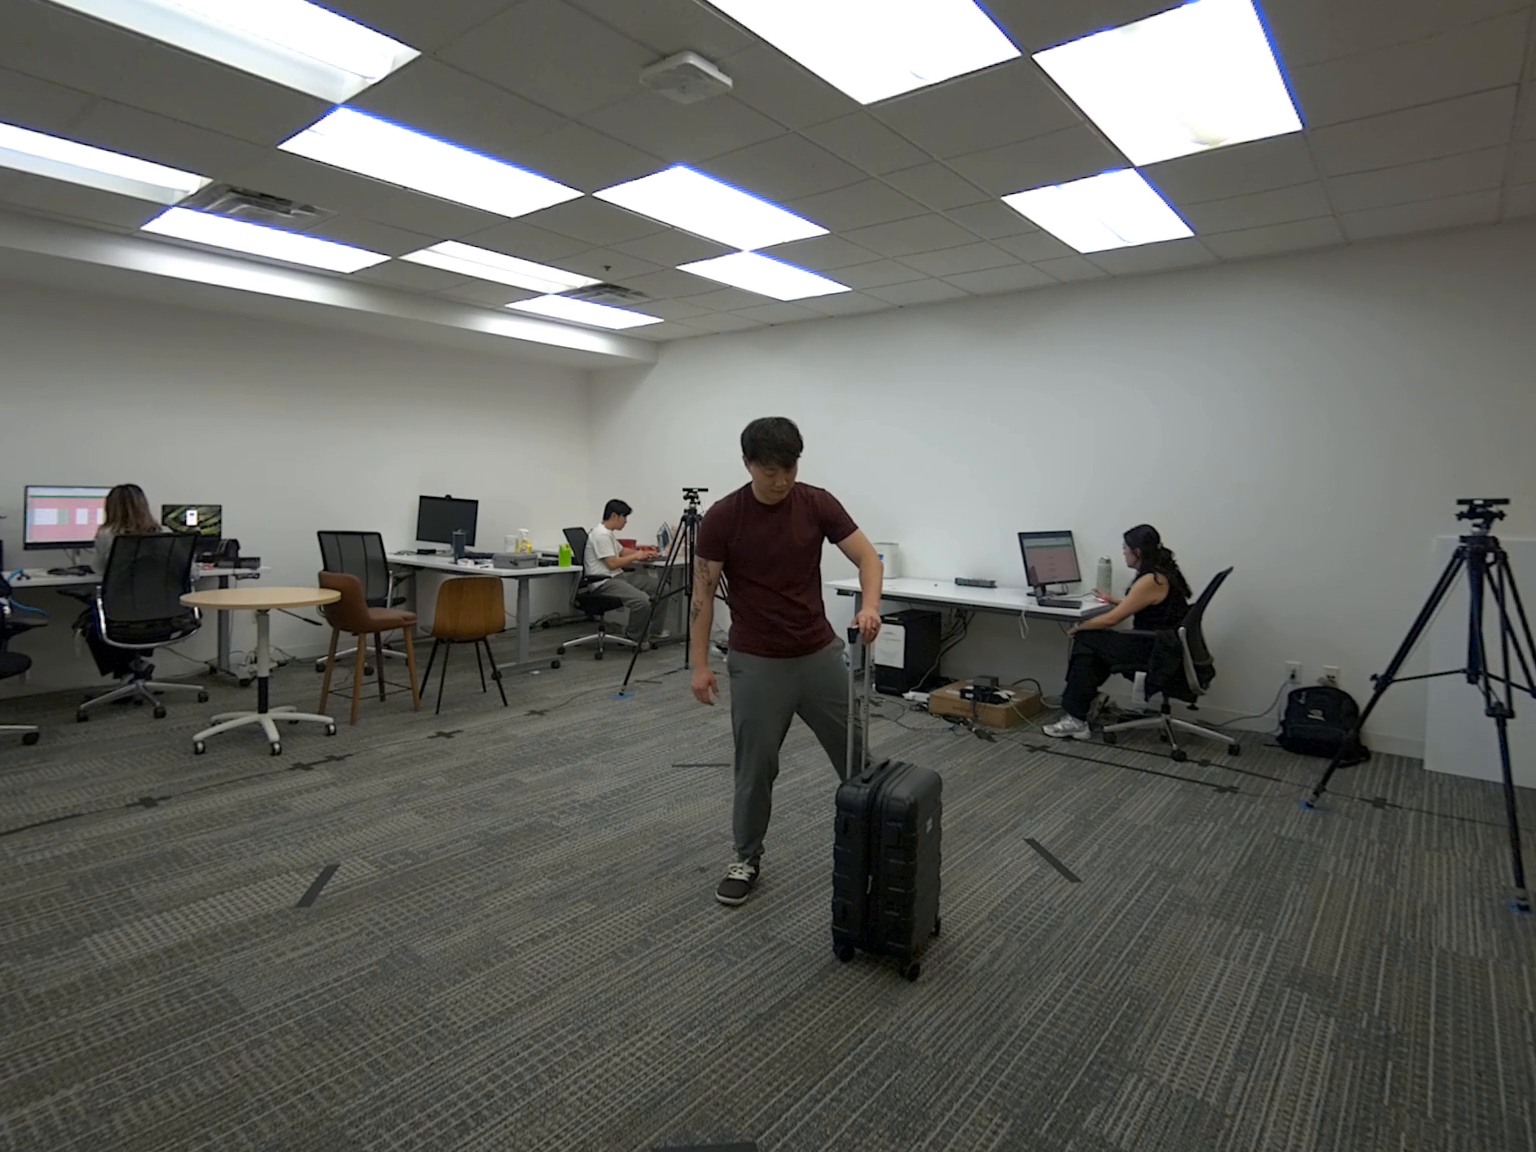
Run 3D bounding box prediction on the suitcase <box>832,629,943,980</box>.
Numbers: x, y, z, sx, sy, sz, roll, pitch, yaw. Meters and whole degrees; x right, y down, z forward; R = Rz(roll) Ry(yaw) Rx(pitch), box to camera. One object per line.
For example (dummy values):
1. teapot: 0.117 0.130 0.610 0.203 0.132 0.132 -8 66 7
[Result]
1. suitcase: 0.374 0.655 2.579 0.264 0.975 0.375 4 5 26
